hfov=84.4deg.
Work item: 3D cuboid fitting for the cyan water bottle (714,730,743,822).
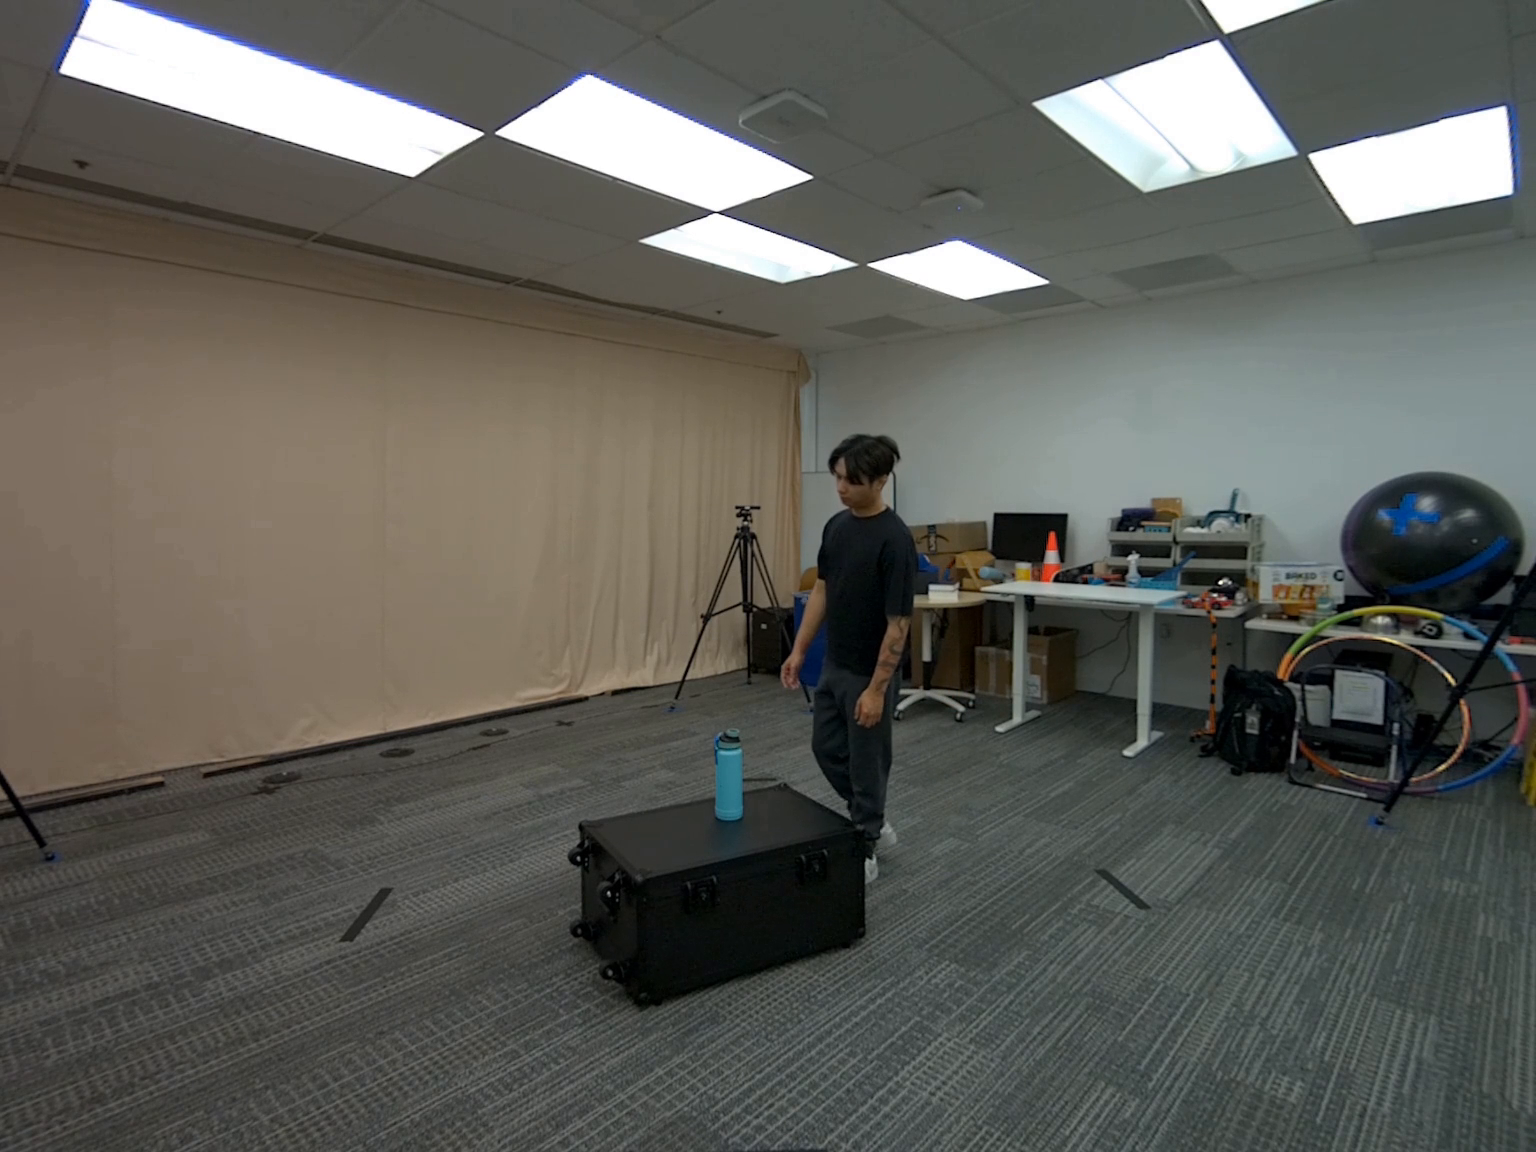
[{"bbox_3d":[-0.127,0.650,2.756,0.092,0.283,0.092,-1,3,-2],"label":"cyan water bottle"}]
